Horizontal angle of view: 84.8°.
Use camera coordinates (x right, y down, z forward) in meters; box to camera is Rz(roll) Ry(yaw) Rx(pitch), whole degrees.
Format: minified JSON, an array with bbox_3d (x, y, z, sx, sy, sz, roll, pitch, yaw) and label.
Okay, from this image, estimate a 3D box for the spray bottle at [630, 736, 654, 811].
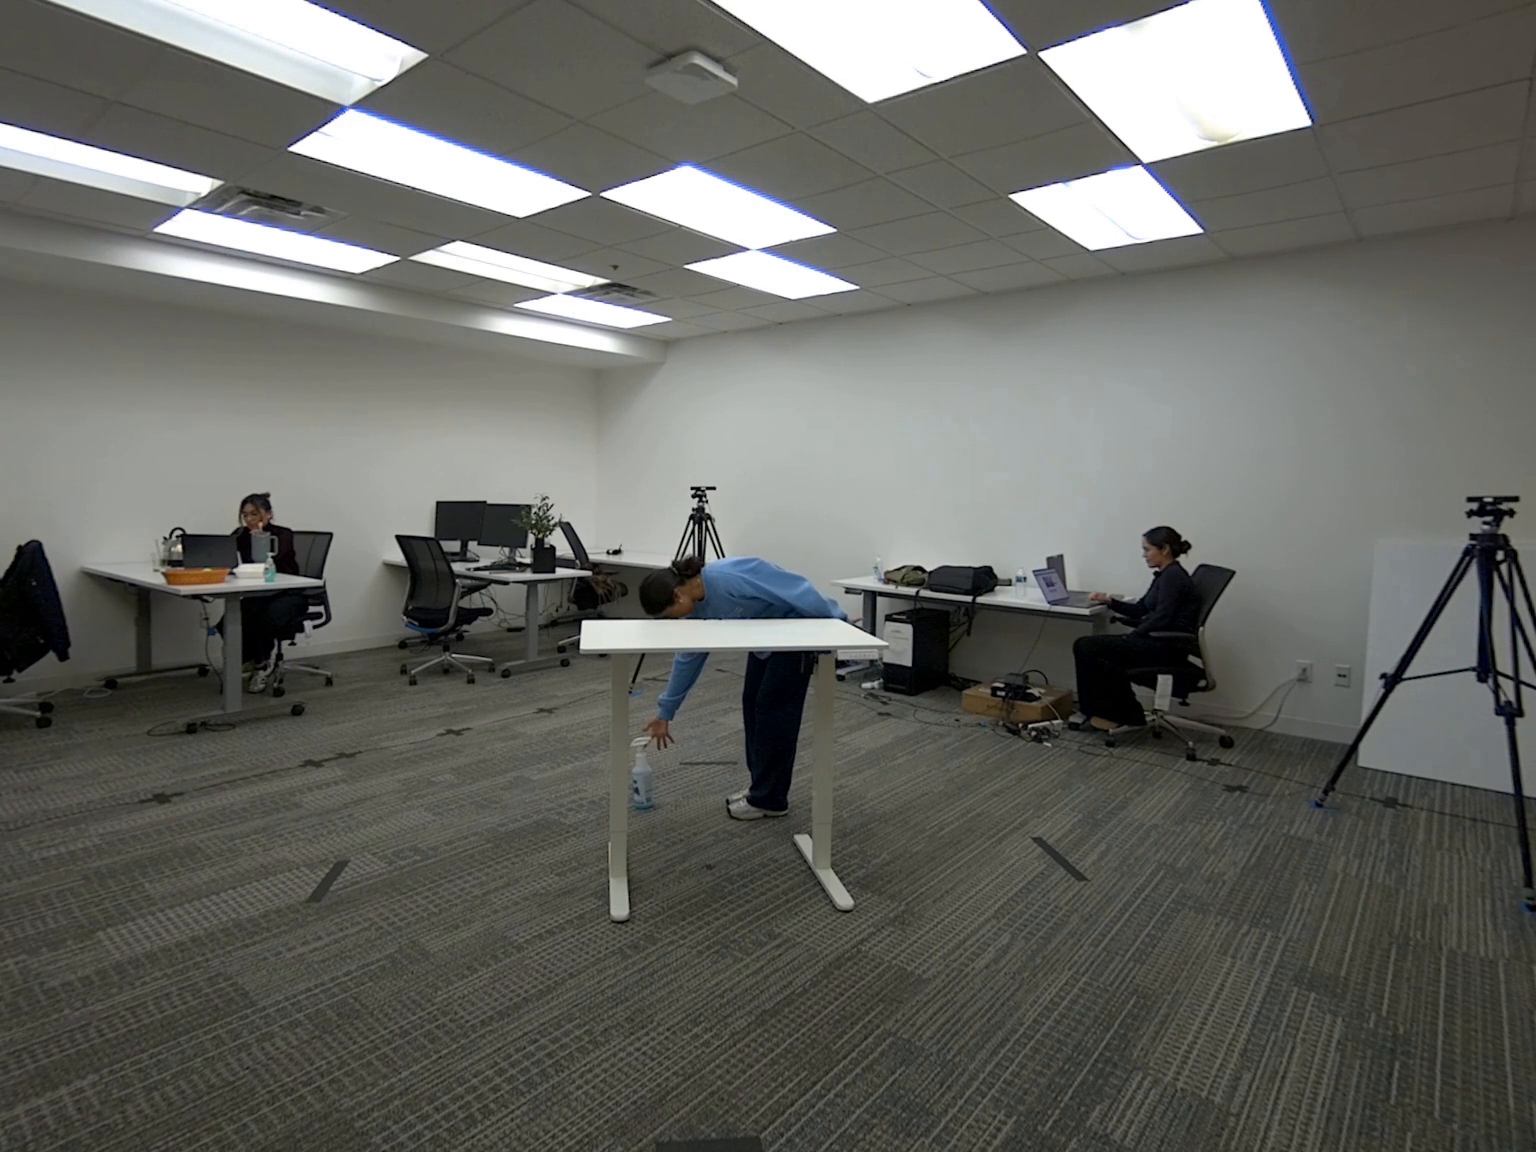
[{"bbox_3d":[-0.561,0.854,3.713,0.092,0.296,0.085,-2,4,26],"label":"spray bottle"}]
